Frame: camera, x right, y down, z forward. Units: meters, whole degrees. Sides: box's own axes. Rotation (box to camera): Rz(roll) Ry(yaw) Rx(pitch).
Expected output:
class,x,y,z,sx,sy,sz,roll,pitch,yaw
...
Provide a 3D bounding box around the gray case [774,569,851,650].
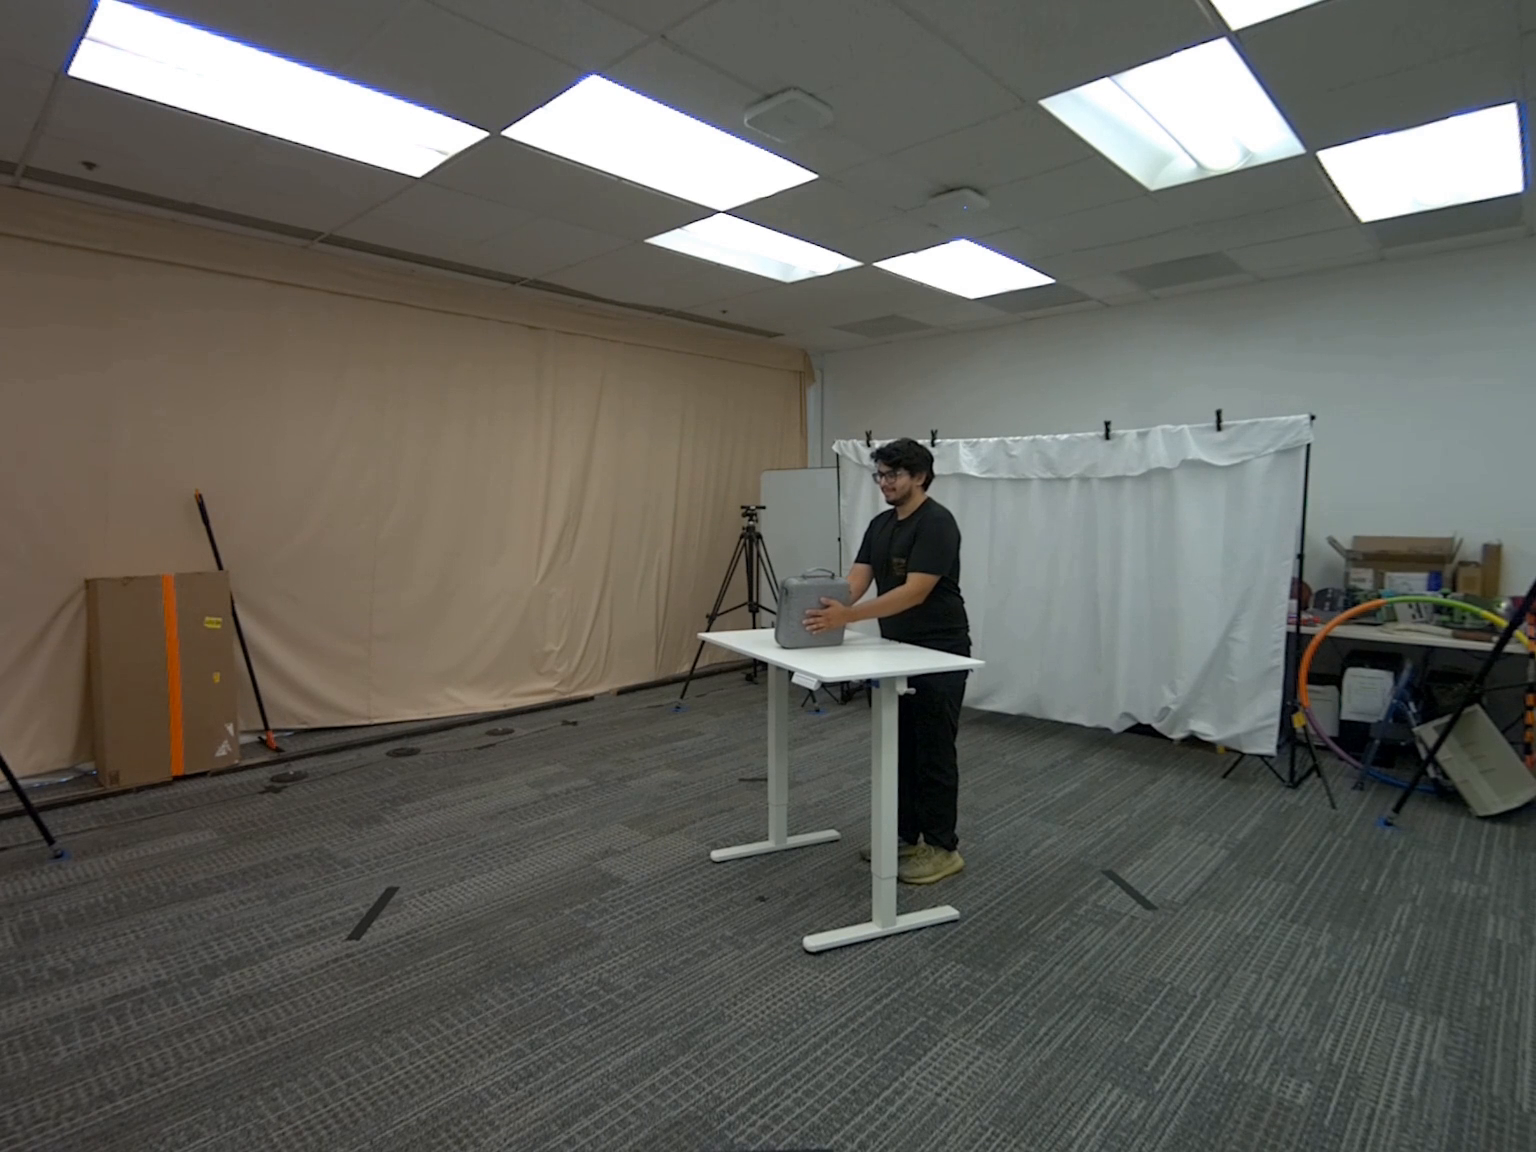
class,x,y,z,sx,sy,sz,roll,pitch,yaw
gray case,0.157,0.128,3.025,0.252,0.259,0.107,0,12,-20
